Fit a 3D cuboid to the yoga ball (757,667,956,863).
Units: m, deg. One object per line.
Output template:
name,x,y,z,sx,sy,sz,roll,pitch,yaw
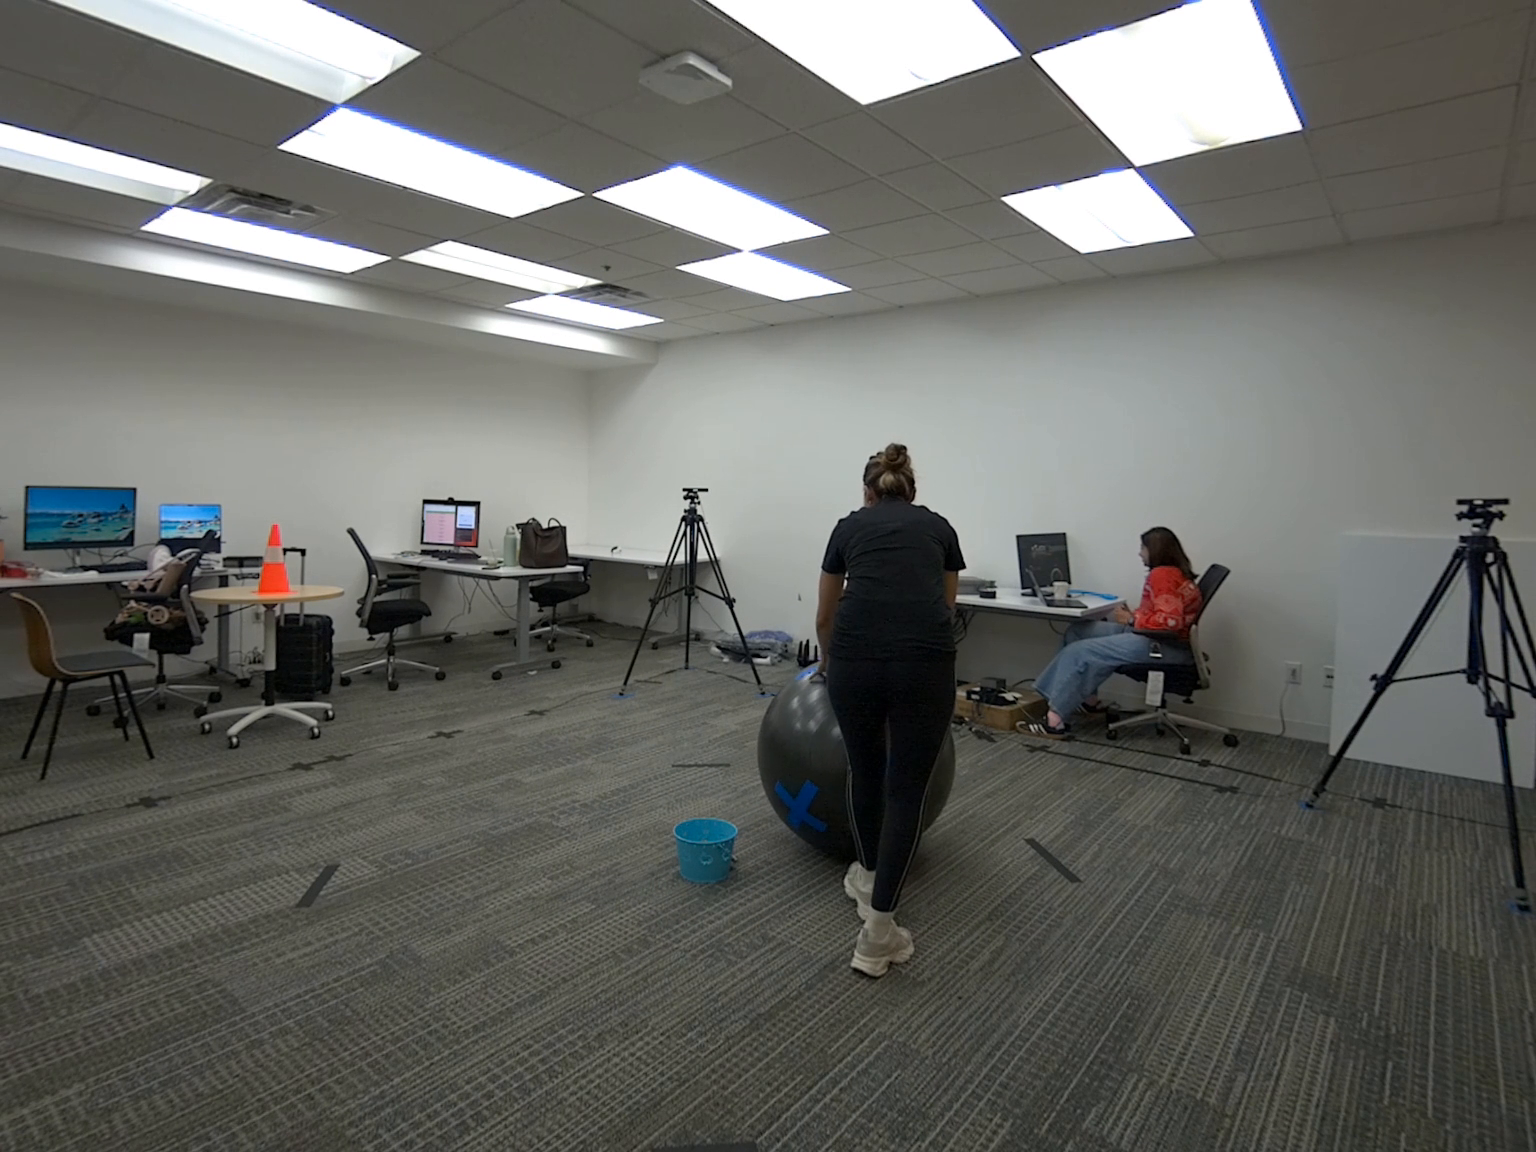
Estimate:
yoga ball,0.336,0.698,3.317,0.757,0.755,0.762,1,4,-2
